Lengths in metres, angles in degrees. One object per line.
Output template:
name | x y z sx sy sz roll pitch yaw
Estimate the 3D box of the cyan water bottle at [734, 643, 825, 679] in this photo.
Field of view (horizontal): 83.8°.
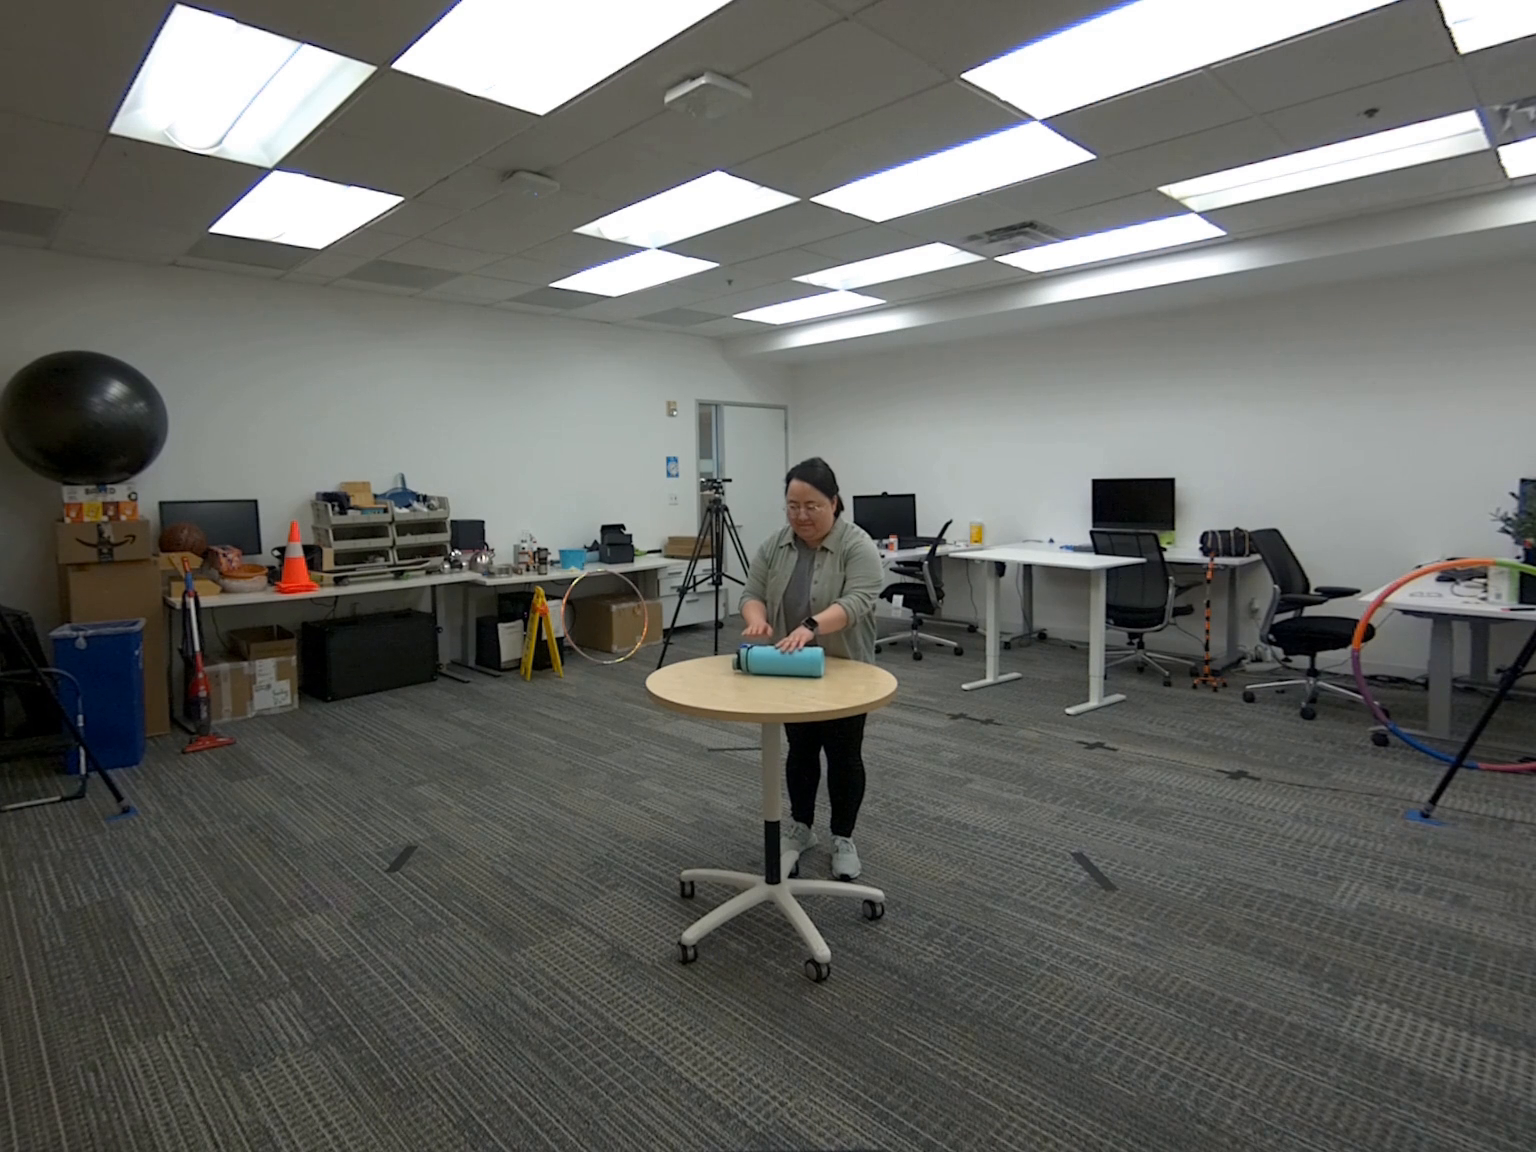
cyan water bottle | 0.038 0.267 2.674 0.287 0.092 0.091 1 5 13
